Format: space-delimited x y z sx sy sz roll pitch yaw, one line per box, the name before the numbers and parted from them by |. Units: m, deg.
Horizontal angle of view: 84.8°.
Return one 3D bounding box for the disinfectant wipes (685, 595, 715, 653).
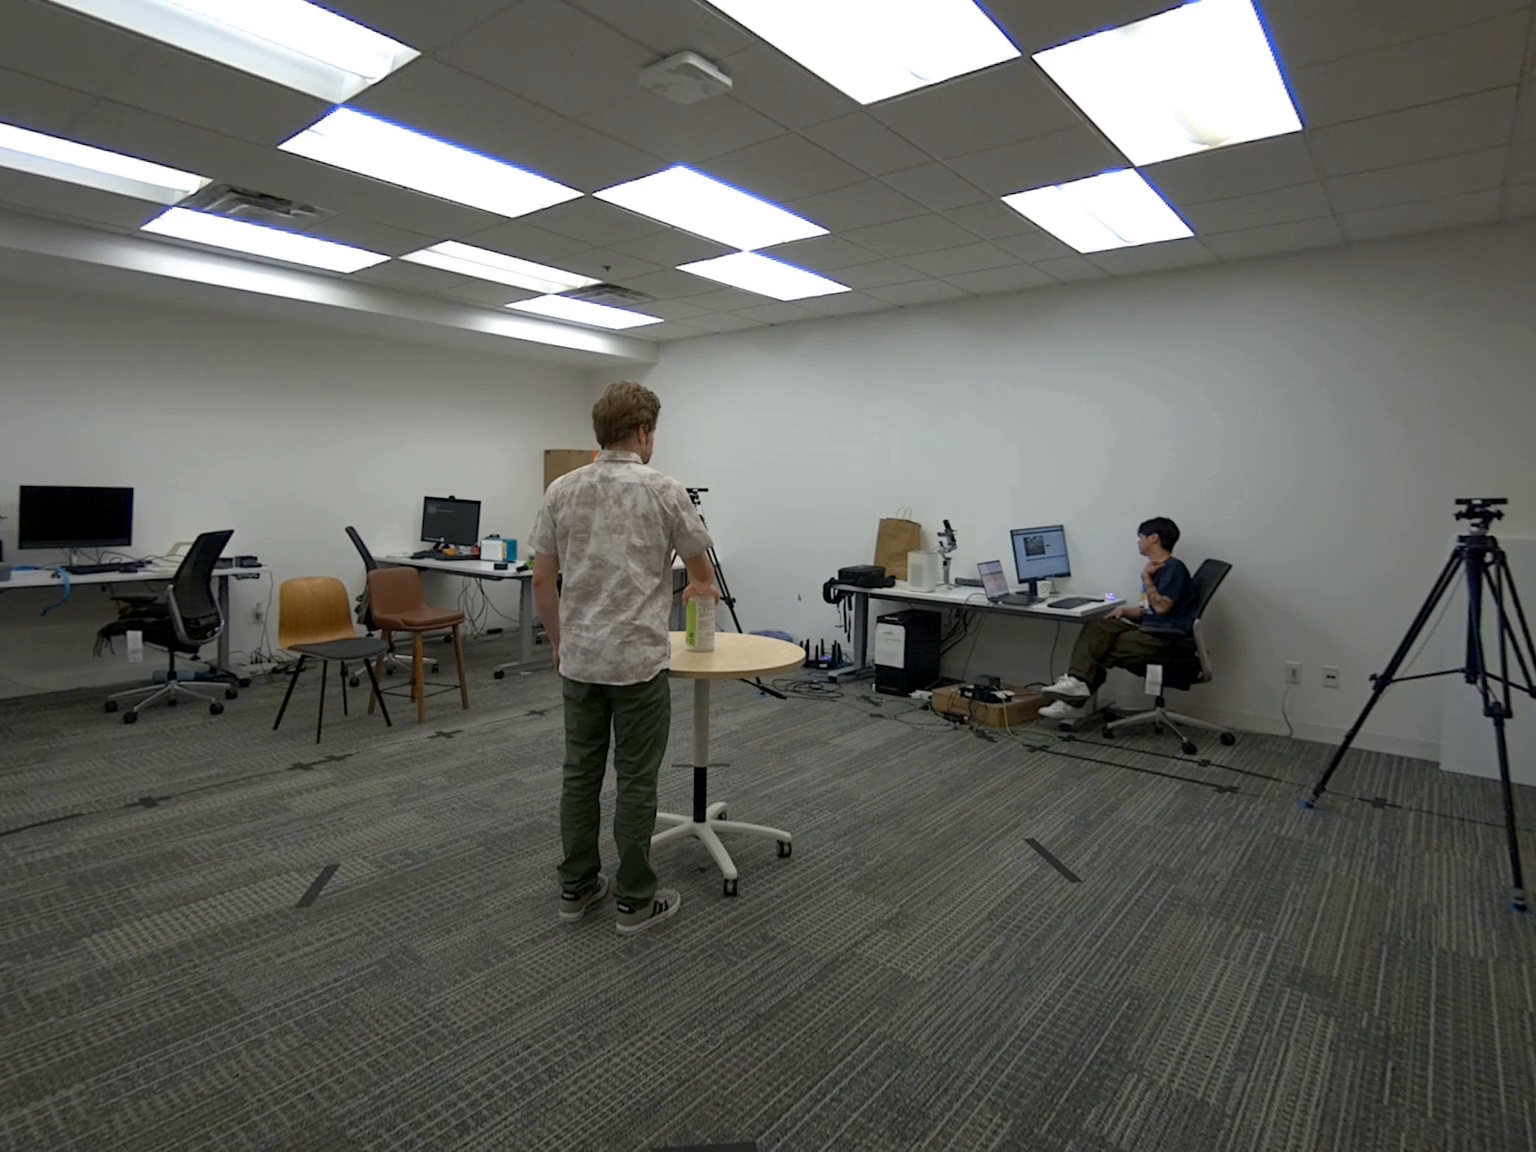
disinfectant wipes | -0.259 0.167 3.158 0.118 0.217 0.118 0 3 -2
